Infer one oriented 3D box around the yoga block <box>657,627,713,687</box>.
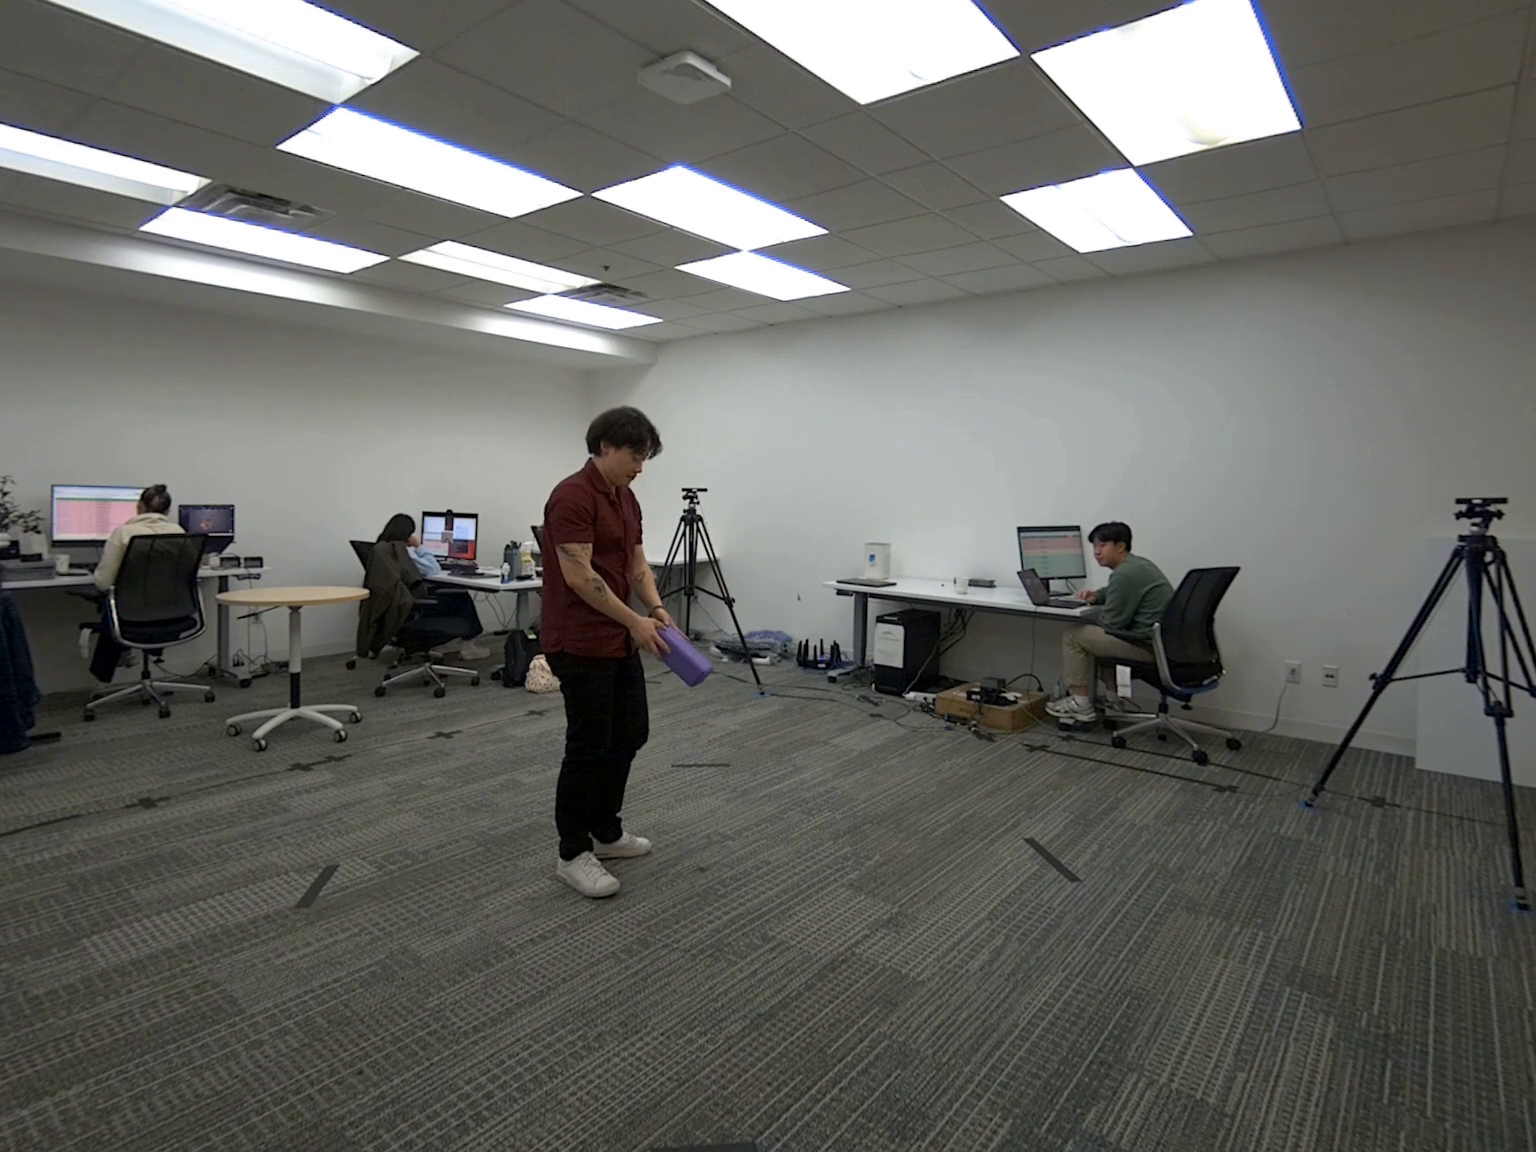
[{"bbox_3d":[-0.300,0.262,2.913,0.233,0.076,0.146,41,9,11],"label":"yoga block"}]
